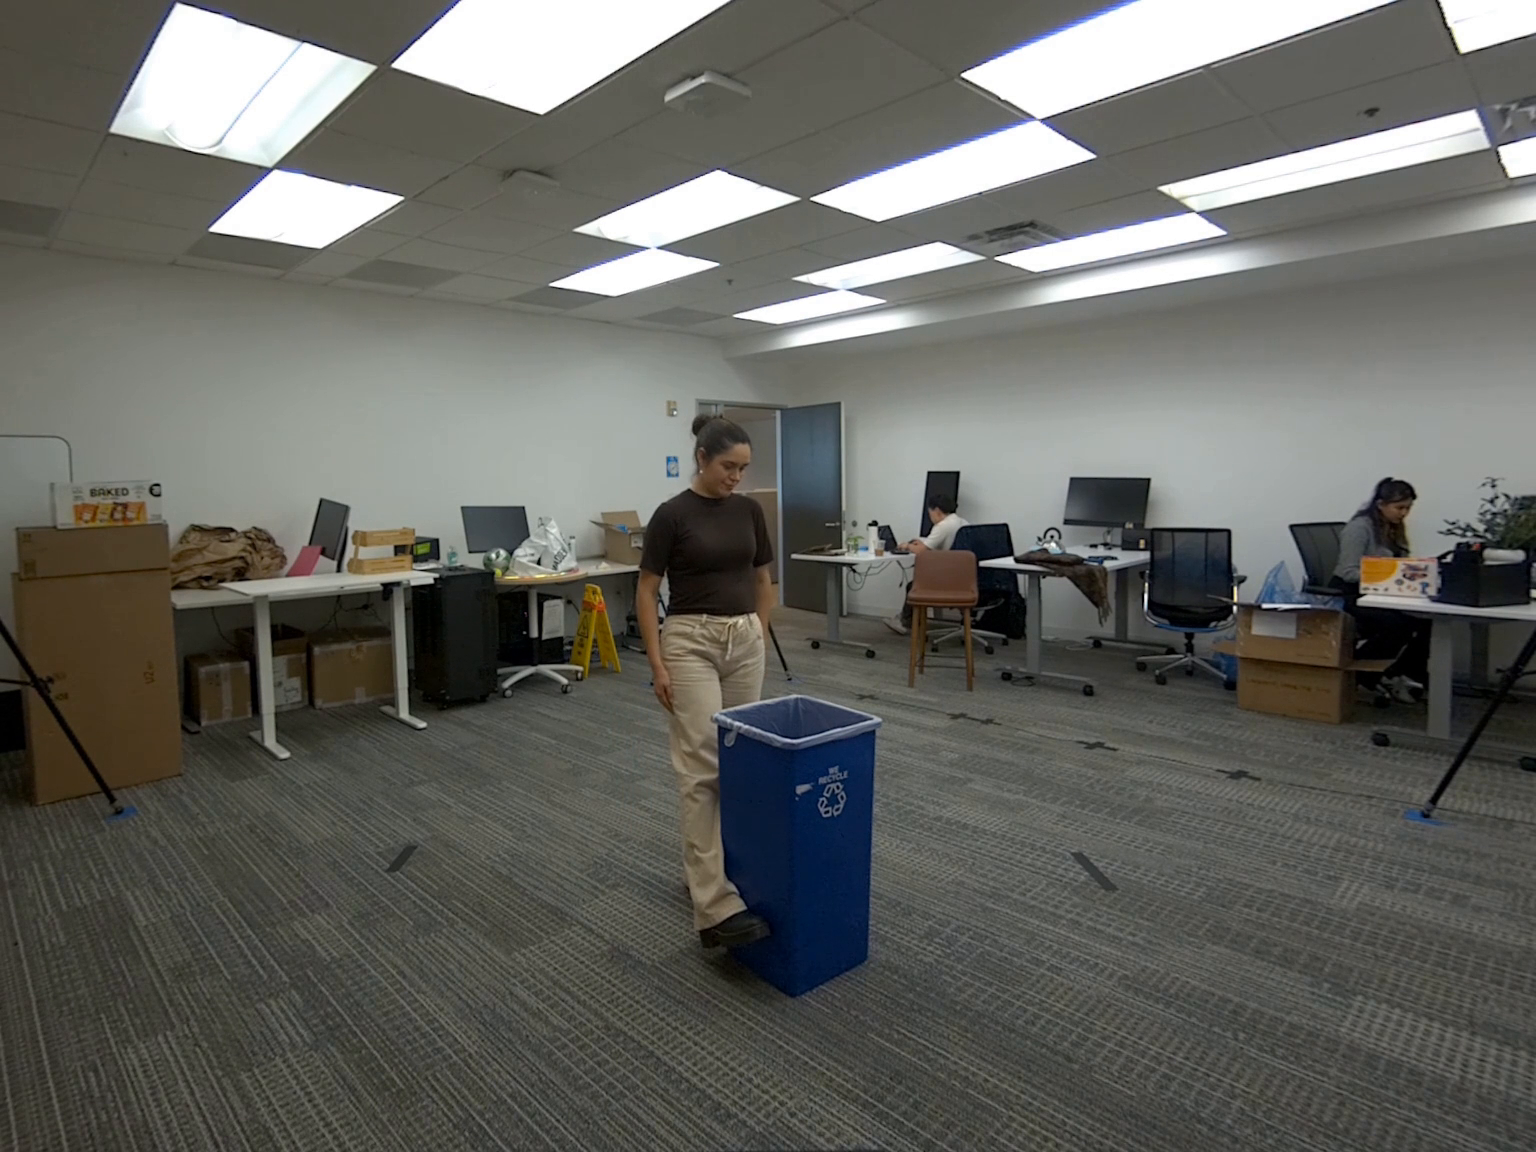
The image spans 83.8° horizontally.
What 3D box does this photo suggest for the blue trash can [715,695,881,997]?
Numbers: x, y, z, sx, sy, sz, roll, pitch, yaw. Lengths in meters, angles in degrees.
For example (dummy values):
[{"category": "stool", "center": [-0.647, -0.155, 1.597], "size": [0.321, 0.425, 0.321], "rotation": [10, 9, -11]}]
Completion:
[{"category": "blue trash can", "center": [0.096, 0.758, 2.476], "size": [0.368, 0.711, 0.385], "rotation": [-4, 5, -40]}]
